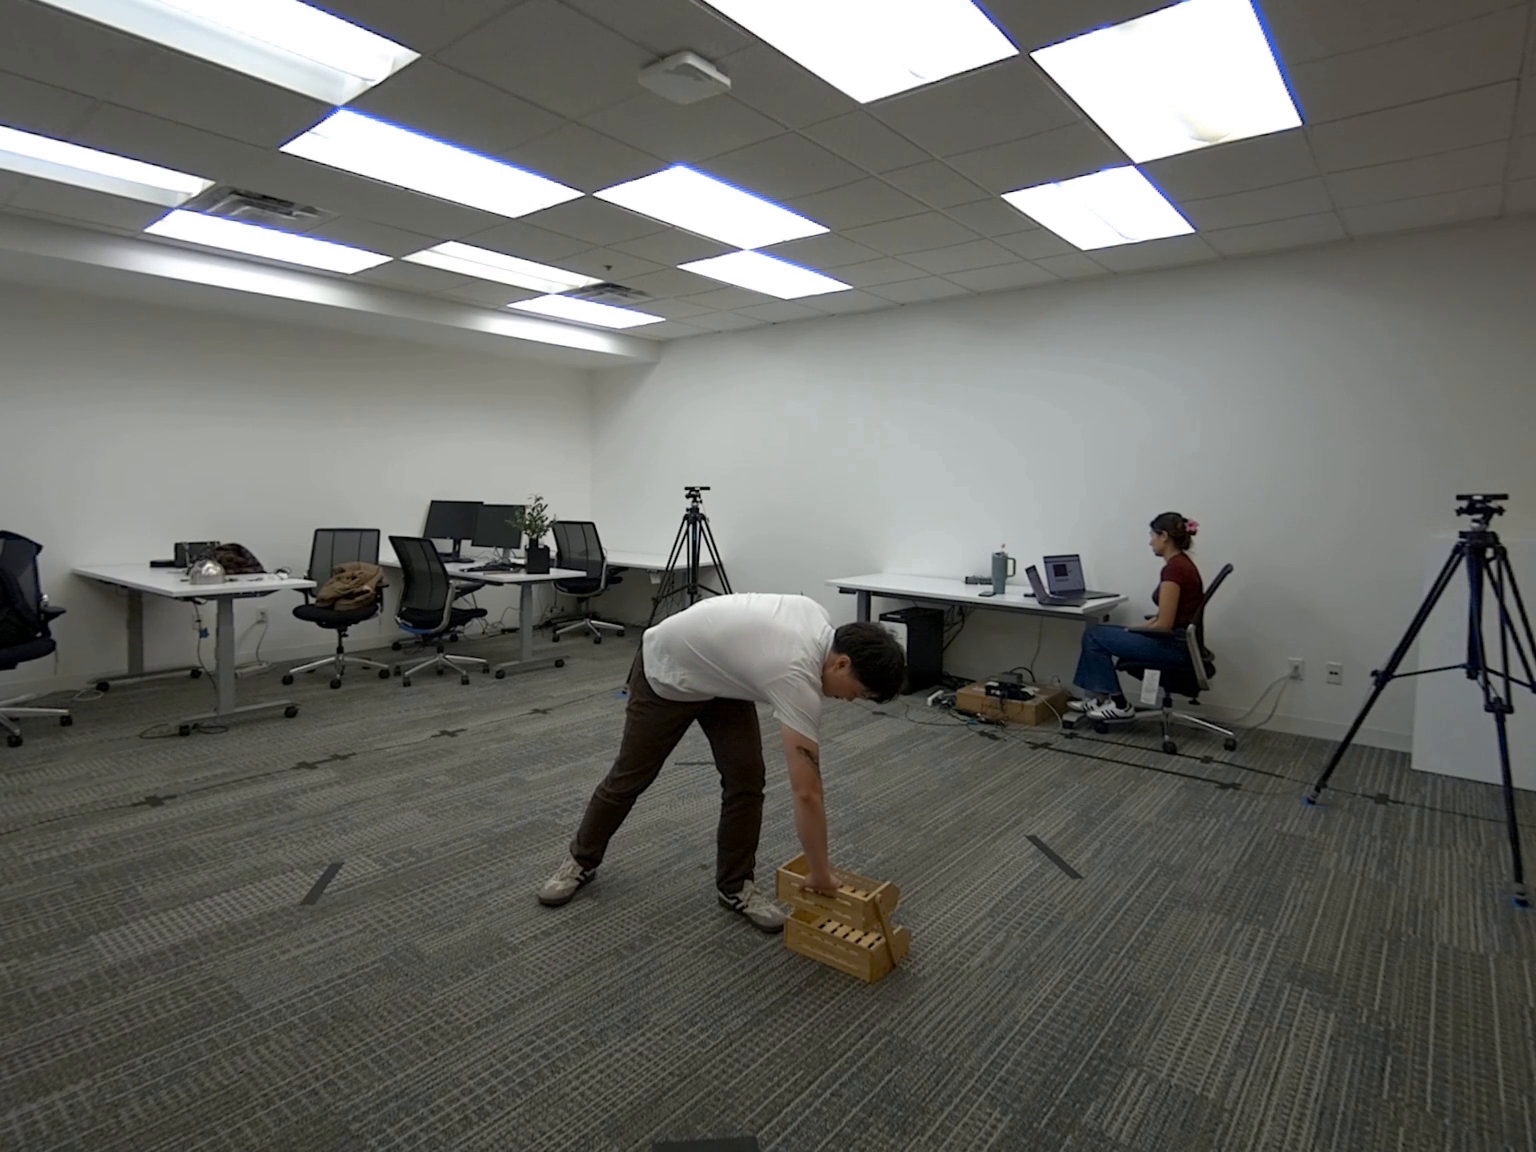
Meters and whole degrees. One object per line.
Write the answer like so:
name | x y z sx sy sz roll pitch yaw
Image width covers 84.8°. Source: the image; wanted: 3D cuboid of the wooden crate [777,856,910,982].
wooden crate | 0.222 0.991 2.559 0.335 0.272 0.293 4 6 36
